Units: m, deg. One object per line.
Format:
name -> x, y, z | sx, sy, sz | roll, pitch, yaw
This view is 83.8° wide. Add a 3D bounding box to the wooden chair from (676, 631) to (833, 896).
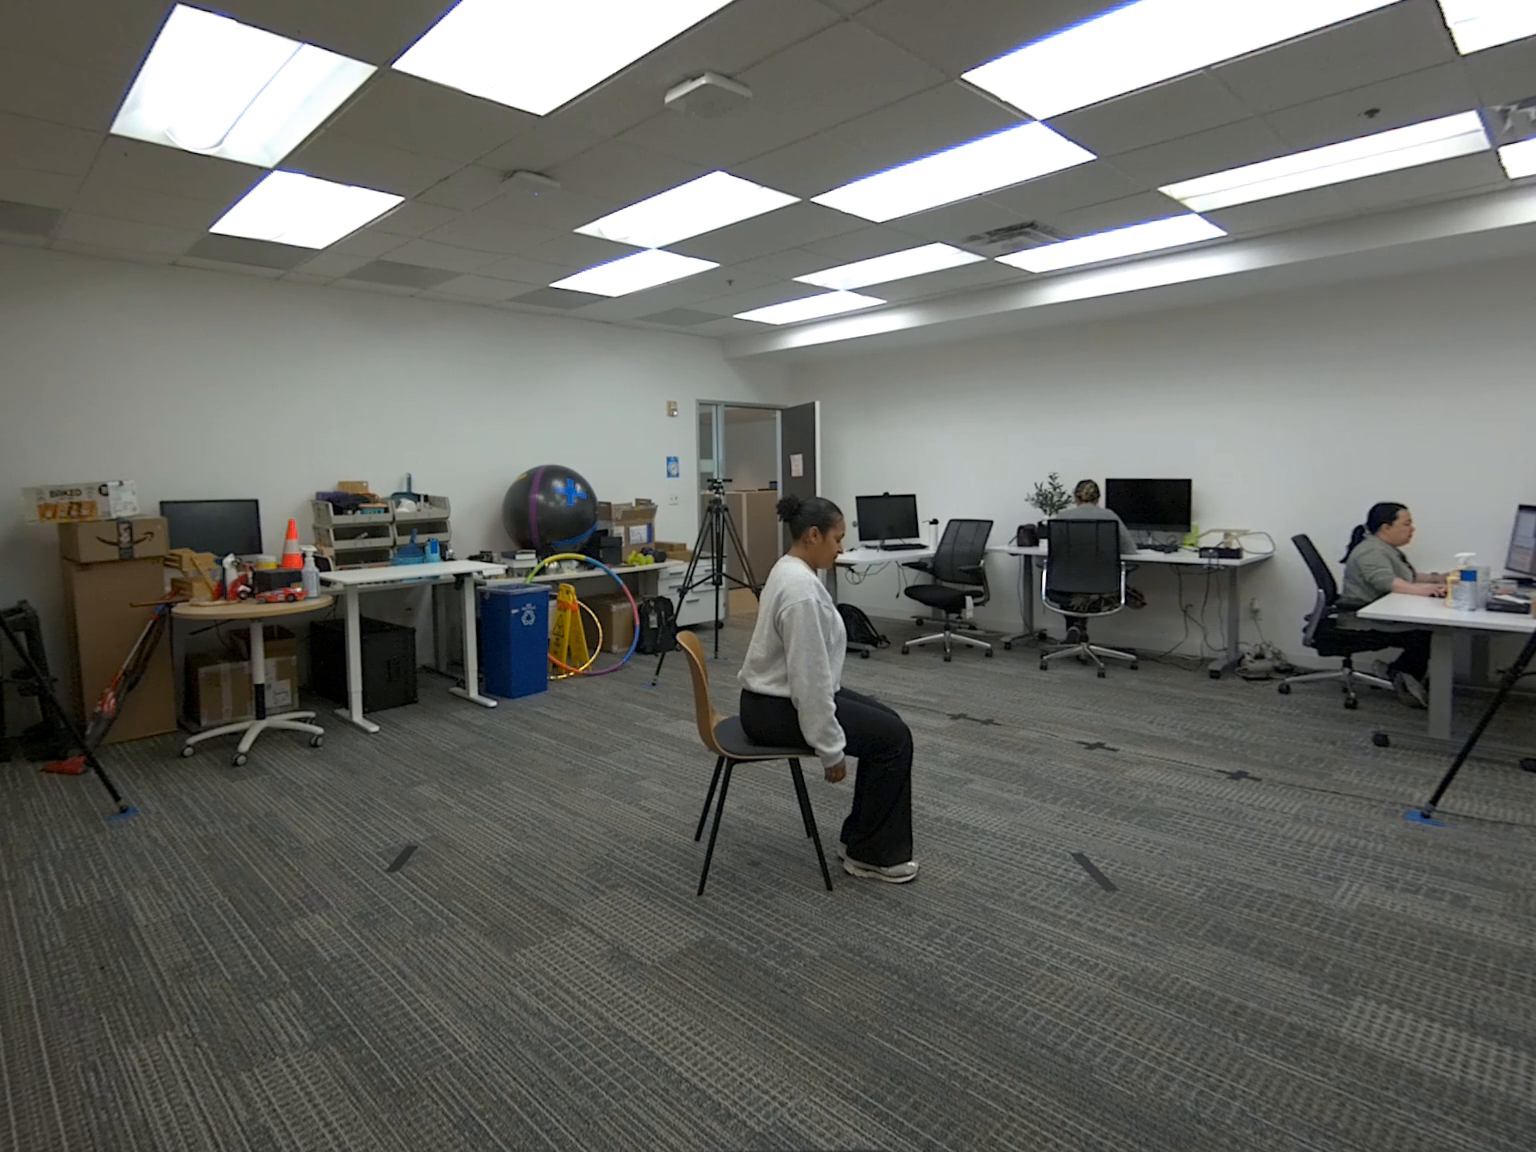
wooden chair -> -0.029, 0.624, 3.071 | 0.521, 0.874, 0.482 | -5, 4, -5
